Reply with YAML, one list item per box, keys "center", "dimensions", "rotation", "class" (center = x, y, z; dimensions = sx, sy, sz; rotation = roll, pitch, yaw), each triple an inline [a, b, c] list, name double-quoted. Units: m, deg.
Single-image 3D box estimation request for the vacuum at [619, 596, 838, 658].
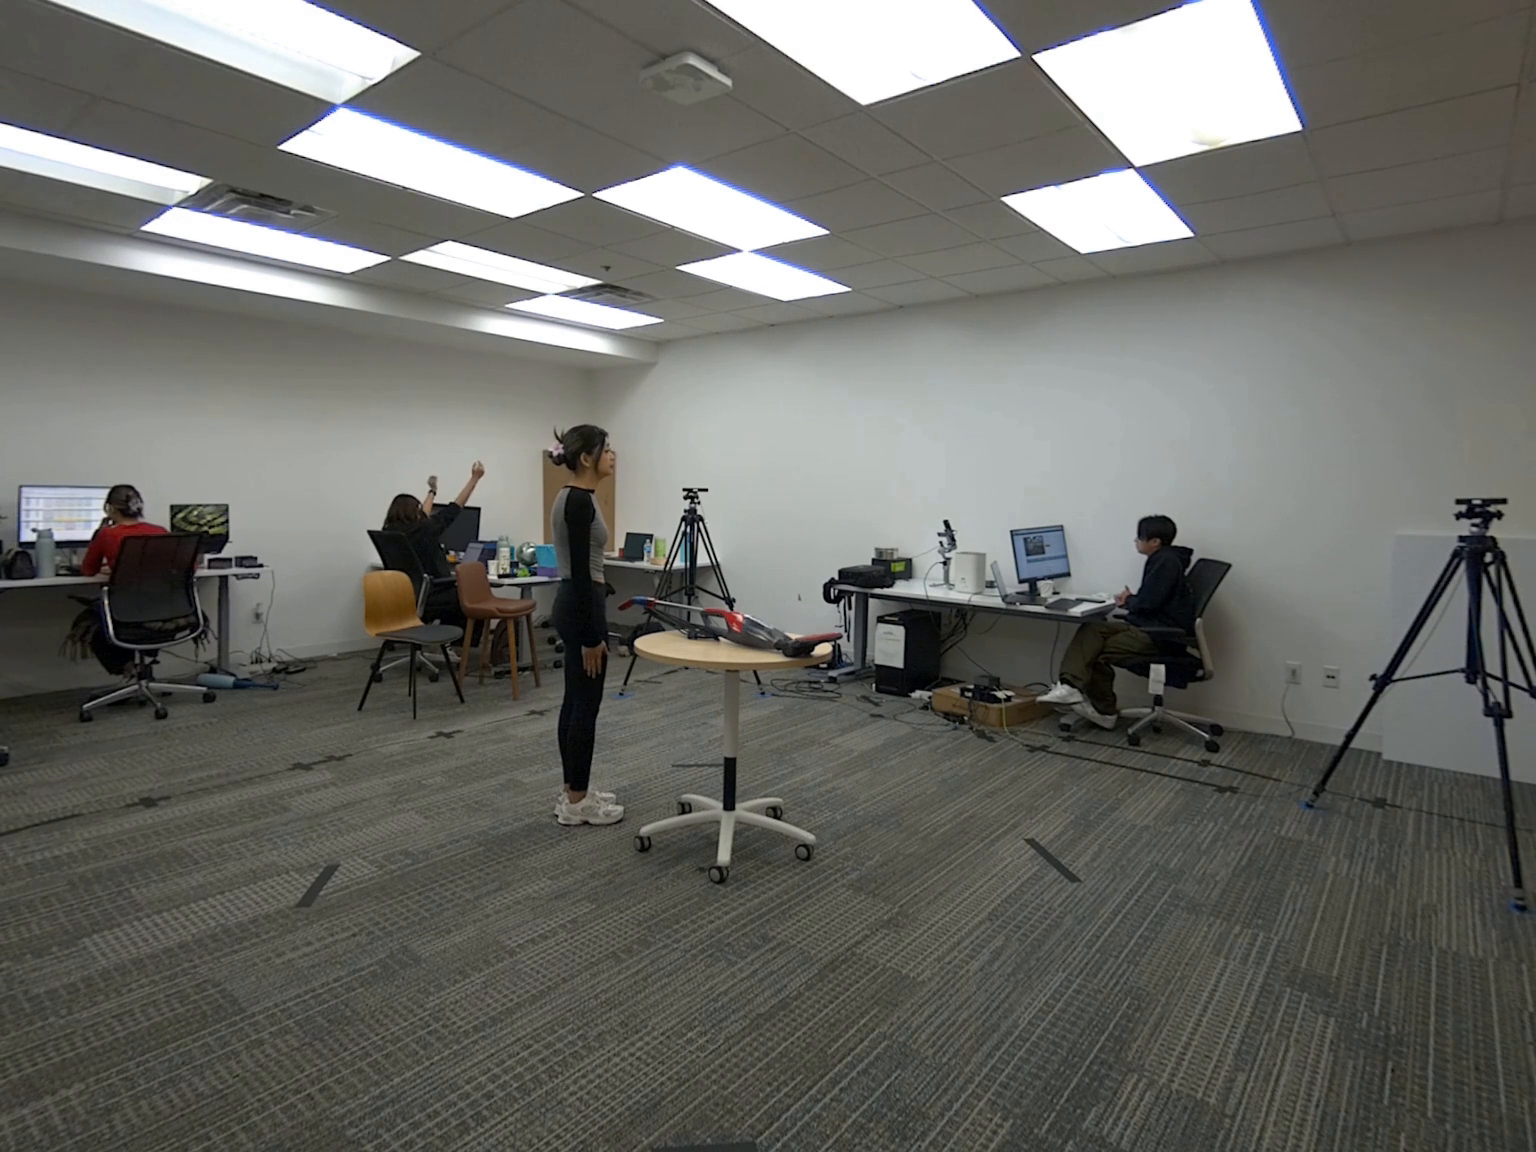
- center: [-0.256, 0.201, 3.405]
  dimensions: [1.086, 0.143, 0.245]
  rotation: [8, 8, 42]
  class: "vacuum"
